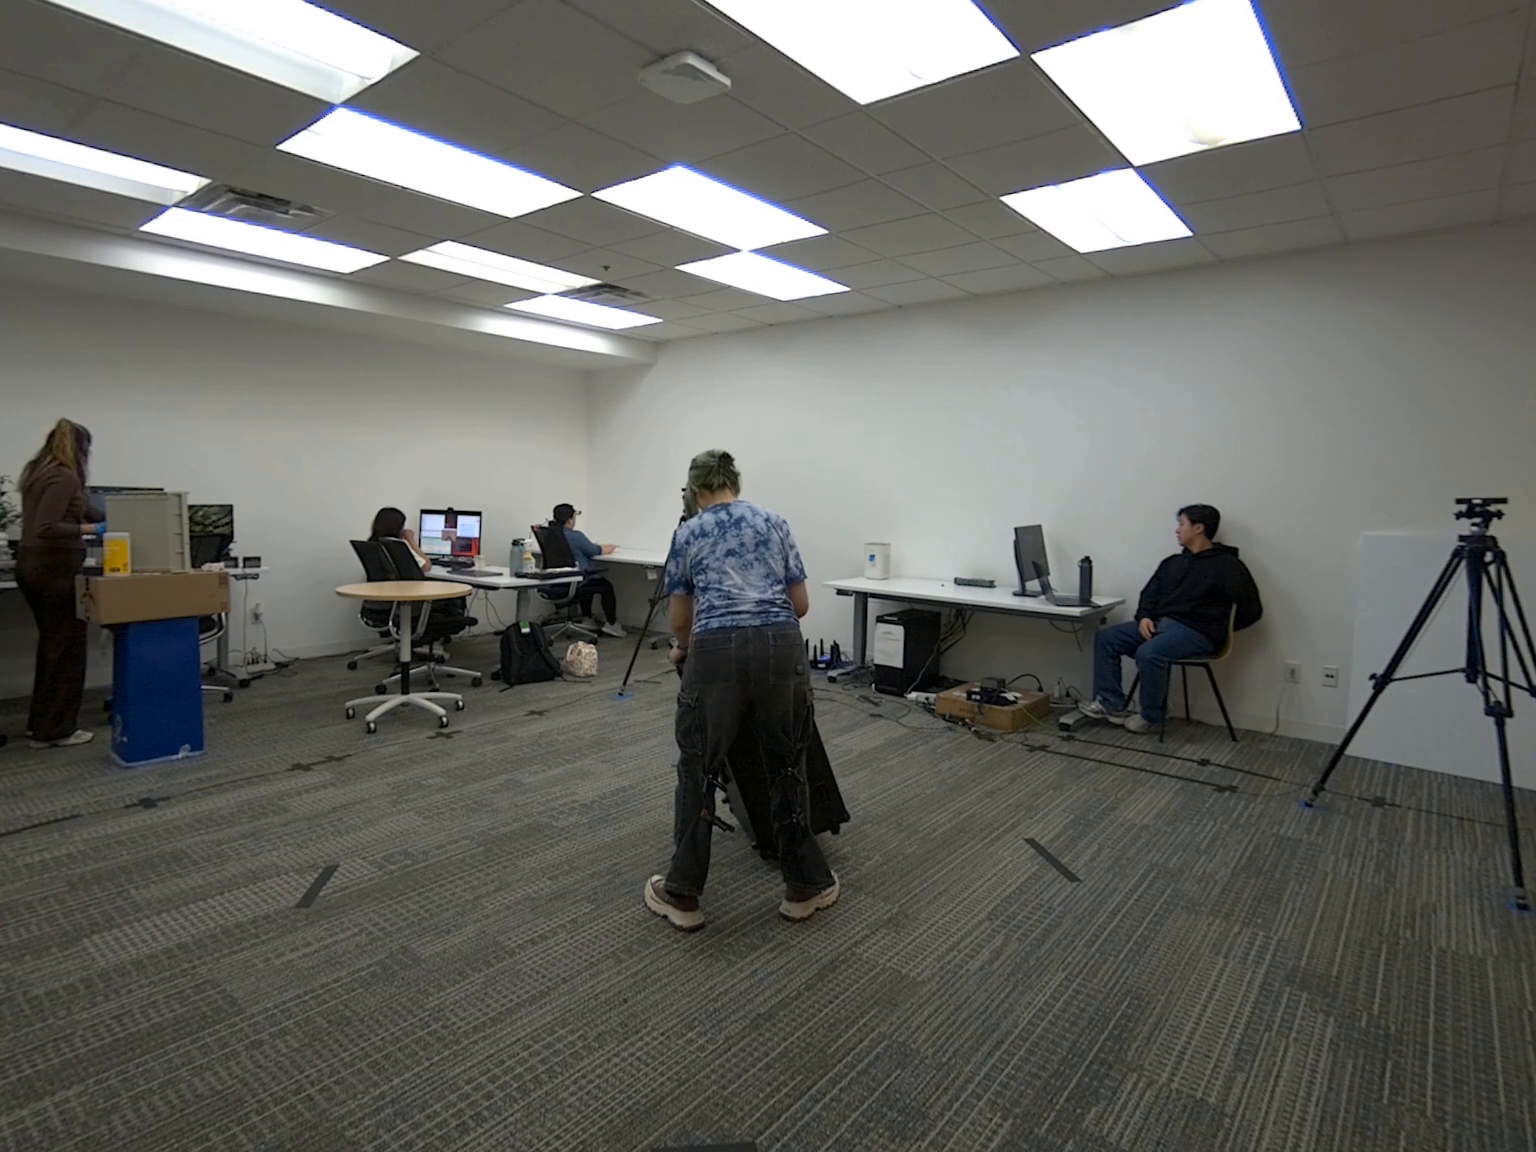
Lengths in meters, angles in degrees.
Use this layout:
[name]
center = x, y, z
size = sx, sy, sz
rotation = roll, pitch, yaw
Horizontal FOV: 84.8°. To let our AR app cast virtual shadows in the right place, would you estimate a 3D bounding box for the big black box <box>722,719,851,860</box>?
[big black box]
center = -0.049, 0.620, 3.303
size = 0.393, 0.851, 0.531
rotation = -23, 10, -12
